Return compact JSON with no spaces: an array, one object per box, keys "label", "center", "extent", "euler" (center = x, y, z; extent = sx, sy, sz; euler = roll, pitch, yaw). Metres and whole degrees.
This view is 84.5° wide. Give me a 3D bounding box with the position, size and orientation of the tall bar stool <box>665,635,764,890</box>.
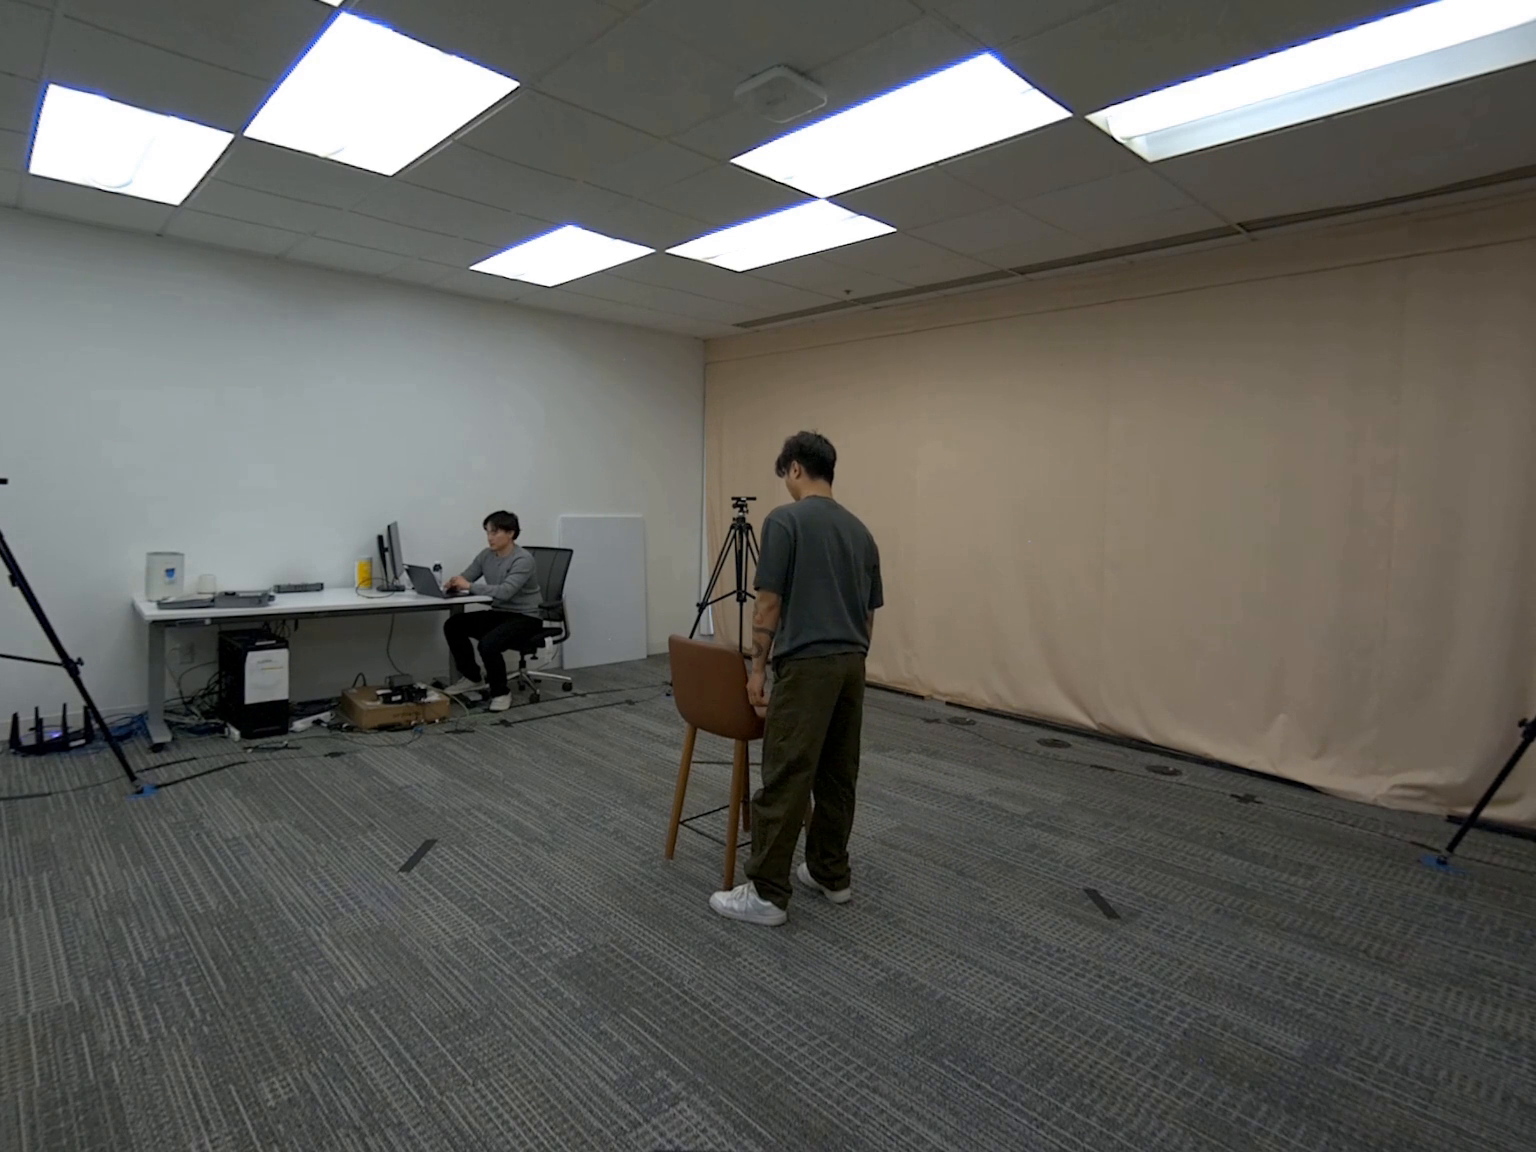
[{"label":"tall bar stool","center":[-0.113,0.660,3.234],"extent":[0.457,0.887,0.468],"euler":[-4,5,-43]}]
